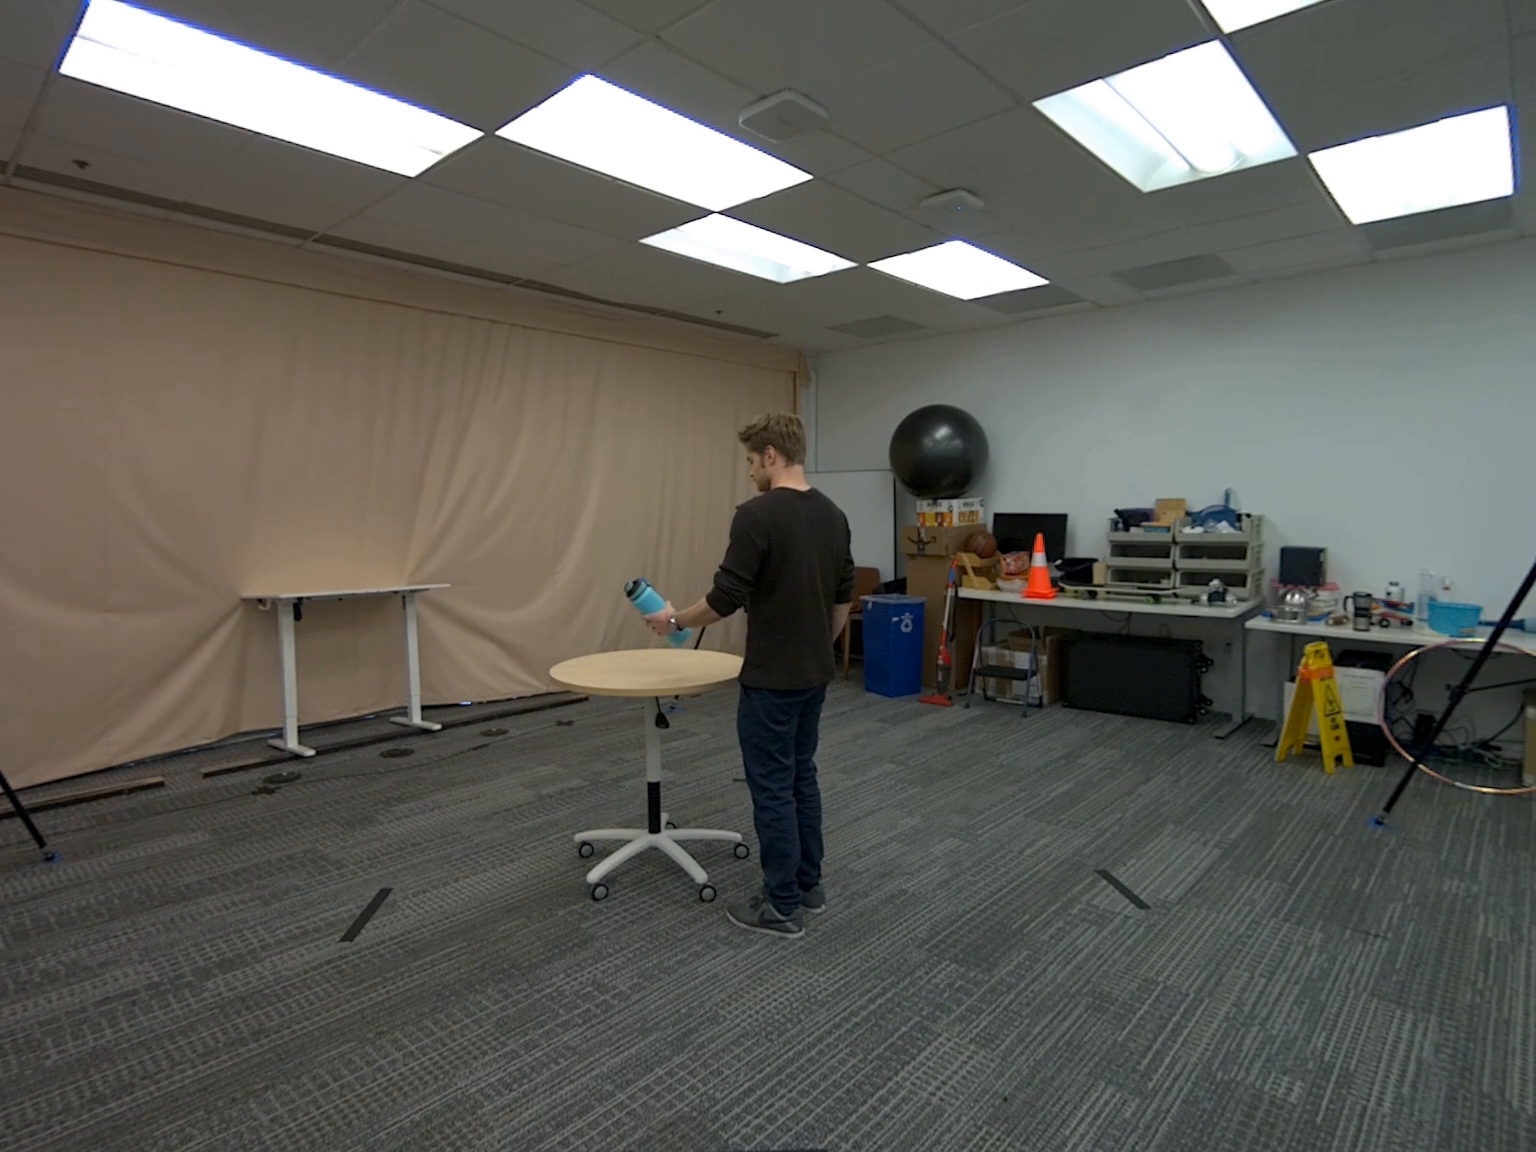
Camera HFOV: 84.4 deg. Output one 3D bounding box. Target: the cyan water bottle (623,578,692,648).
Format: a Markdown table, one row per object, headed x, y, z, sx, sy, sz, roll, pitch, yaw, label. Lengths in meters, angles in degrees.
| x | y | z | sx | sy | sz | roll | pitch | yaw | label |
| --- | --- | --- | --- | --- | --- | --- | --- | --- | --- |
| -0.392 | 0.124 | 2.959 | 0.093 | 0.279 | 0.093 | -40 | 13 | 10 | cyan water bottle |
